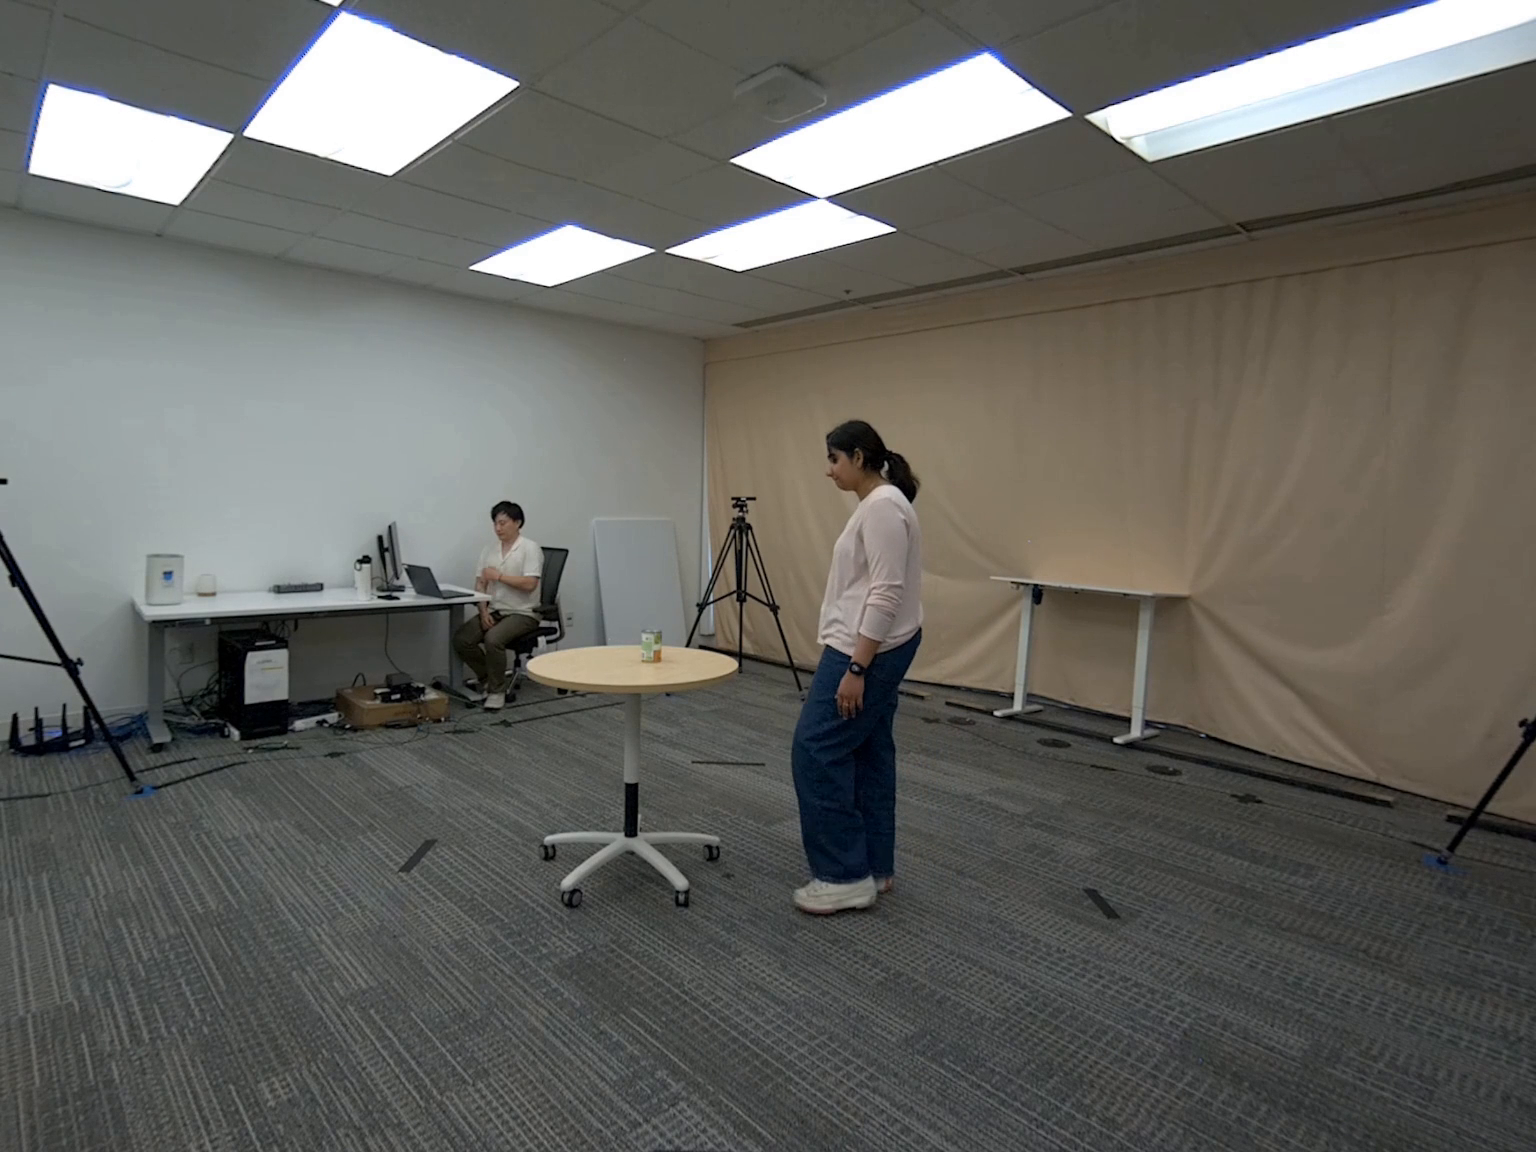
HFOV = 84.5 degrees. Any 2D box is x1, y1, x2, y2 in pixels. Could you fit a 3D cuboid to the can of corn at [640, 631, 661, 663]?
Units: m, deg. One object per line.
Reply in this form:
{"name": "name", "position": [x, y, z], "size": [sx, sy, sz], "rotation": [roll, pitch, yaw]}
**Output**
{"name": "can of corn", "position": [-0.433, 0.260, 3.113], "size": [0.074, 0.111, 0.074], "rotation": [3, 2, -1]}
